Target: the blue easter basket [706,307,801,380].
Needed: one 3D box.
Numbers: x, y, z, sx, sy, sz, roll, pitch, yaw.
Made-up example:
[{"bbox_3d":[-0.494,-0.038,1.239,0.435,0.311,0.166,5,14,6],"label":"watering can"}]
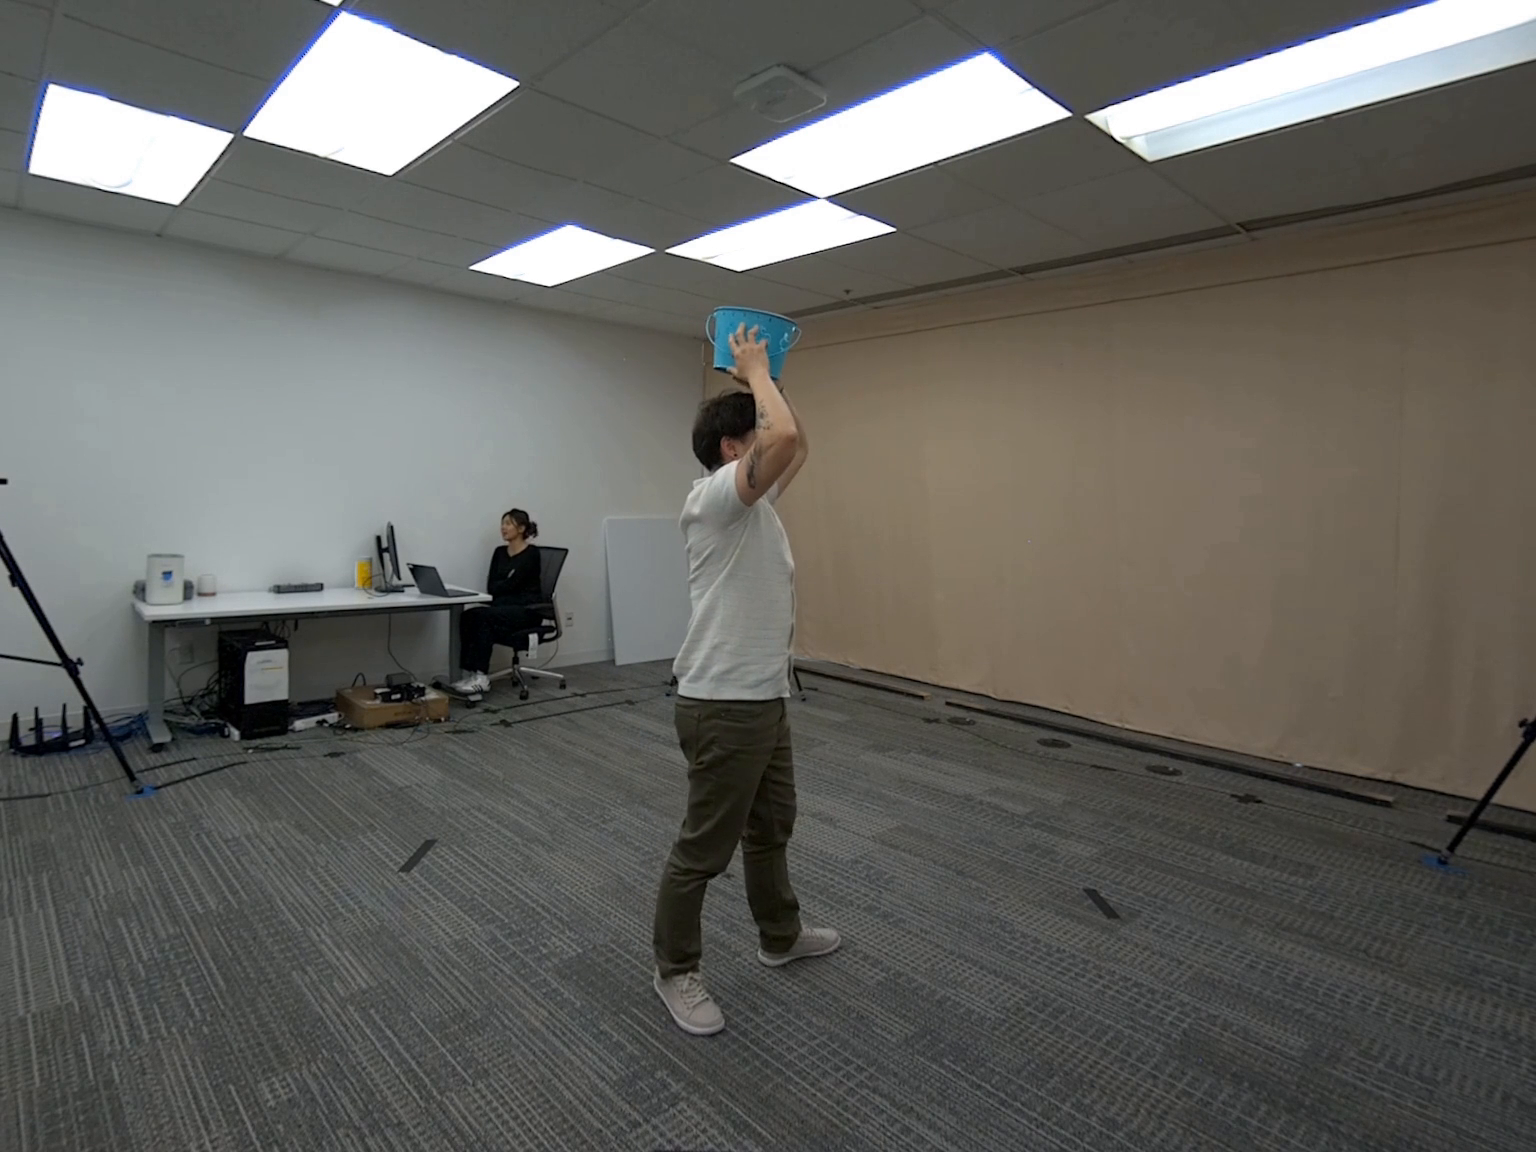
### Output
[{"bbox_3d":[-0.056,-0.622,2.257,0.243,0.155,0.245,10,8,-3],"label":"blue easter basket"}]
